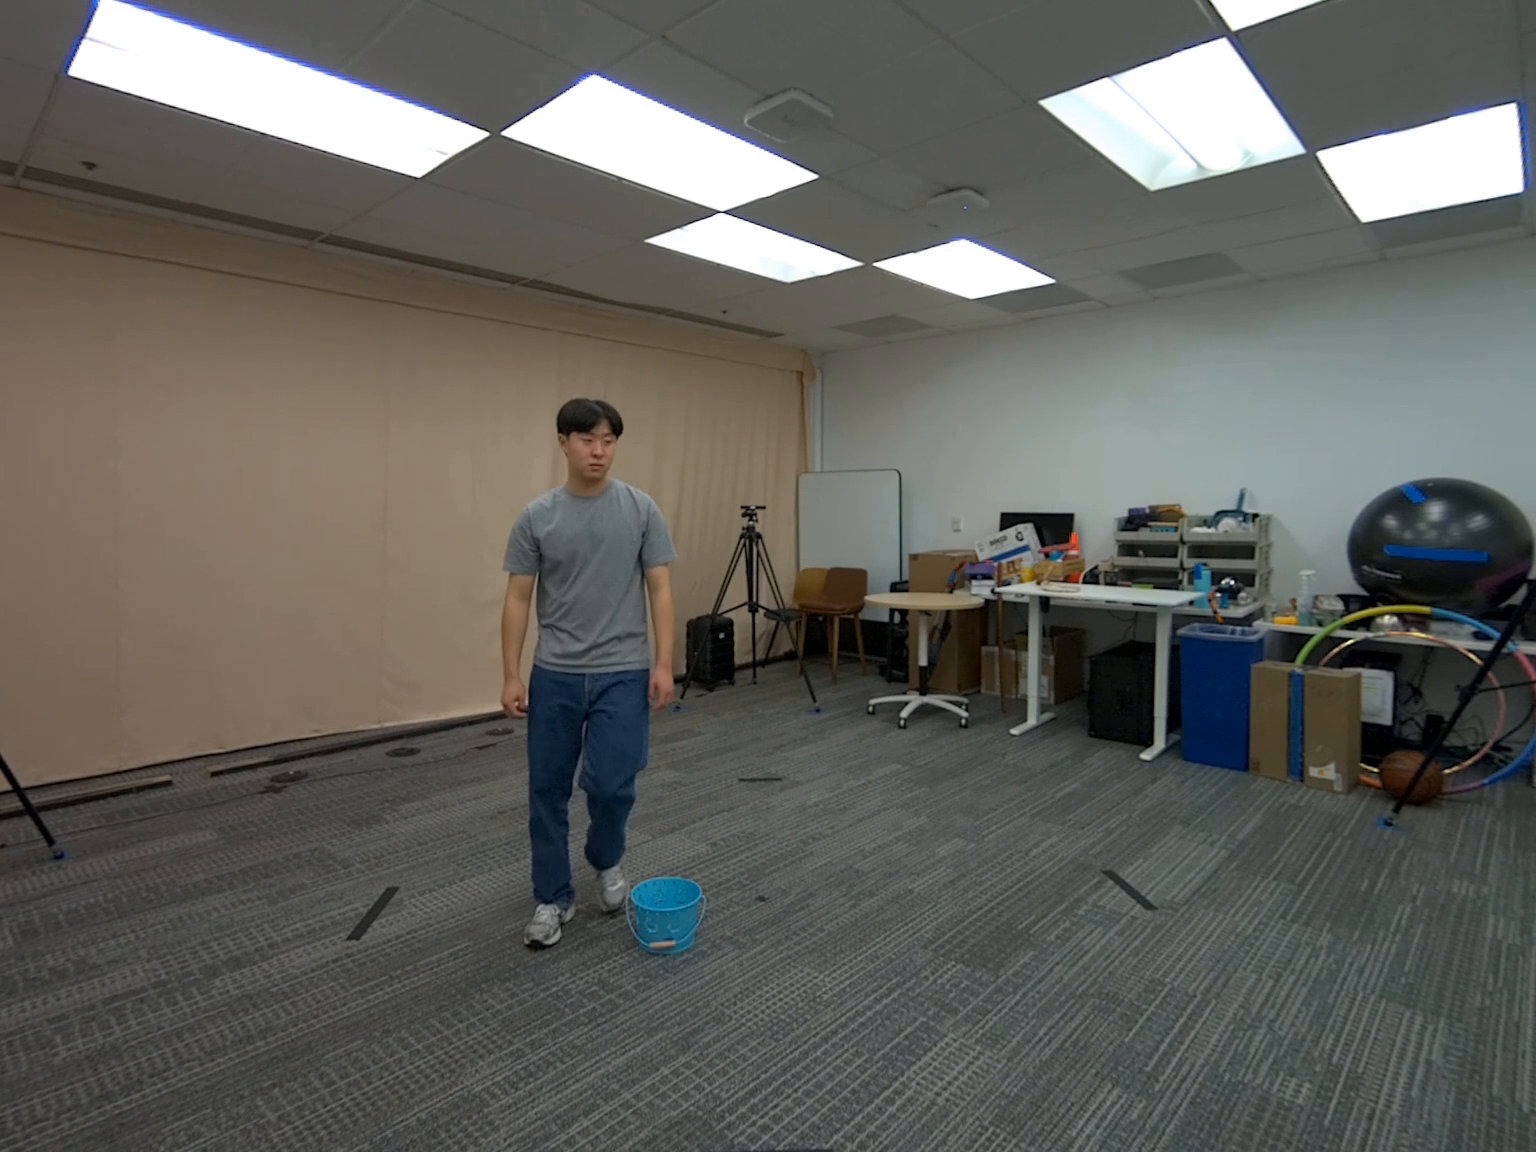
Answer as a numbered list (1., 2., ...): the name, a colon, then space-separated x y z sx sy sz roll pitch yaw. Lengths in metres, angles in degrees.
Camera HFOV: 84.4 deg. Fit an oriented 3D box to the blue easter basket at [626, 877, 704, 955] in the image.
1. blue easter basket: -0.328 1.094 2.699 0.243 0.155 0.244 0 4 -2
